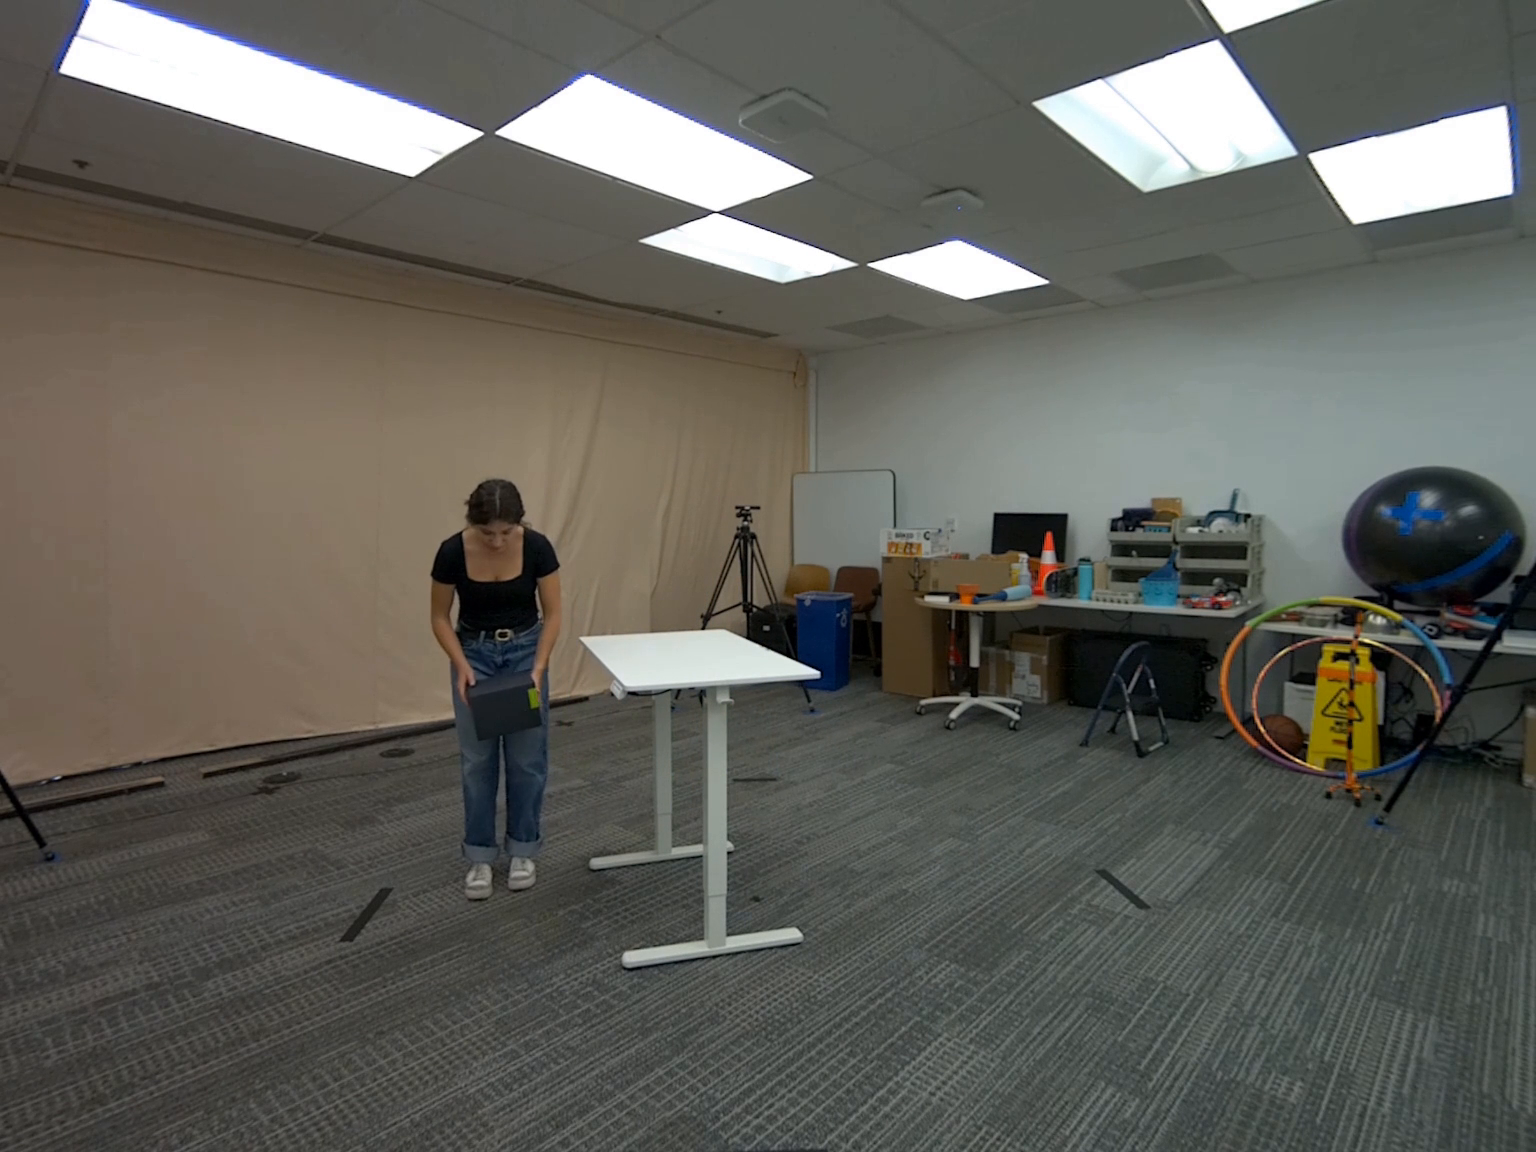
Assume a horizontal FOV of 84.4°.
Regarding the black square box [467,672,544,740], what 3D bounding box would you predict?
[{"bbox_3d":[-0.913,0.442,2.908,0.213,0.155,0.233,-12,8,-20],"label":"black square box"}]
